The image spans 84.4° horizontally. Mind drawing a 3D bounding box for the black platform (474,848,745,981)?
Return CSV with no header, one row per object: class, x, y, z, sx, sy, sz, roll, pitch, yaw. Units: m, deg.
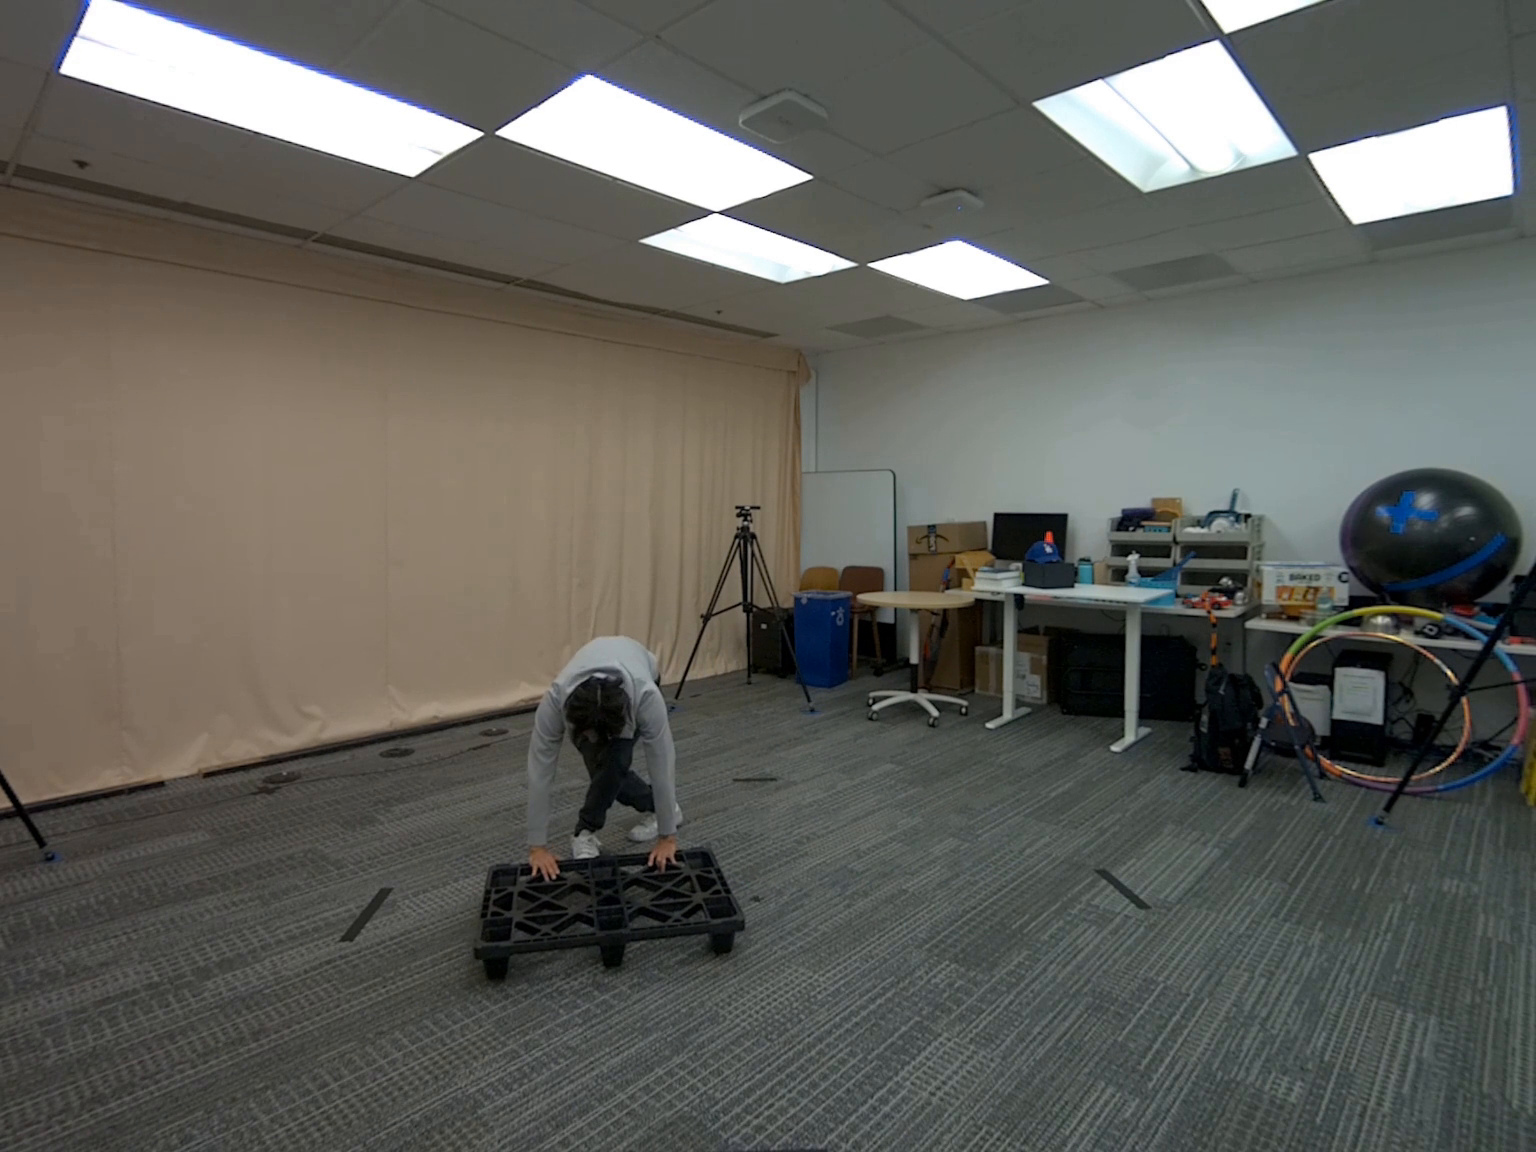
black platform,-0.519,1.096,2.756,0.796,0.143,0.614,-2,4,-12
